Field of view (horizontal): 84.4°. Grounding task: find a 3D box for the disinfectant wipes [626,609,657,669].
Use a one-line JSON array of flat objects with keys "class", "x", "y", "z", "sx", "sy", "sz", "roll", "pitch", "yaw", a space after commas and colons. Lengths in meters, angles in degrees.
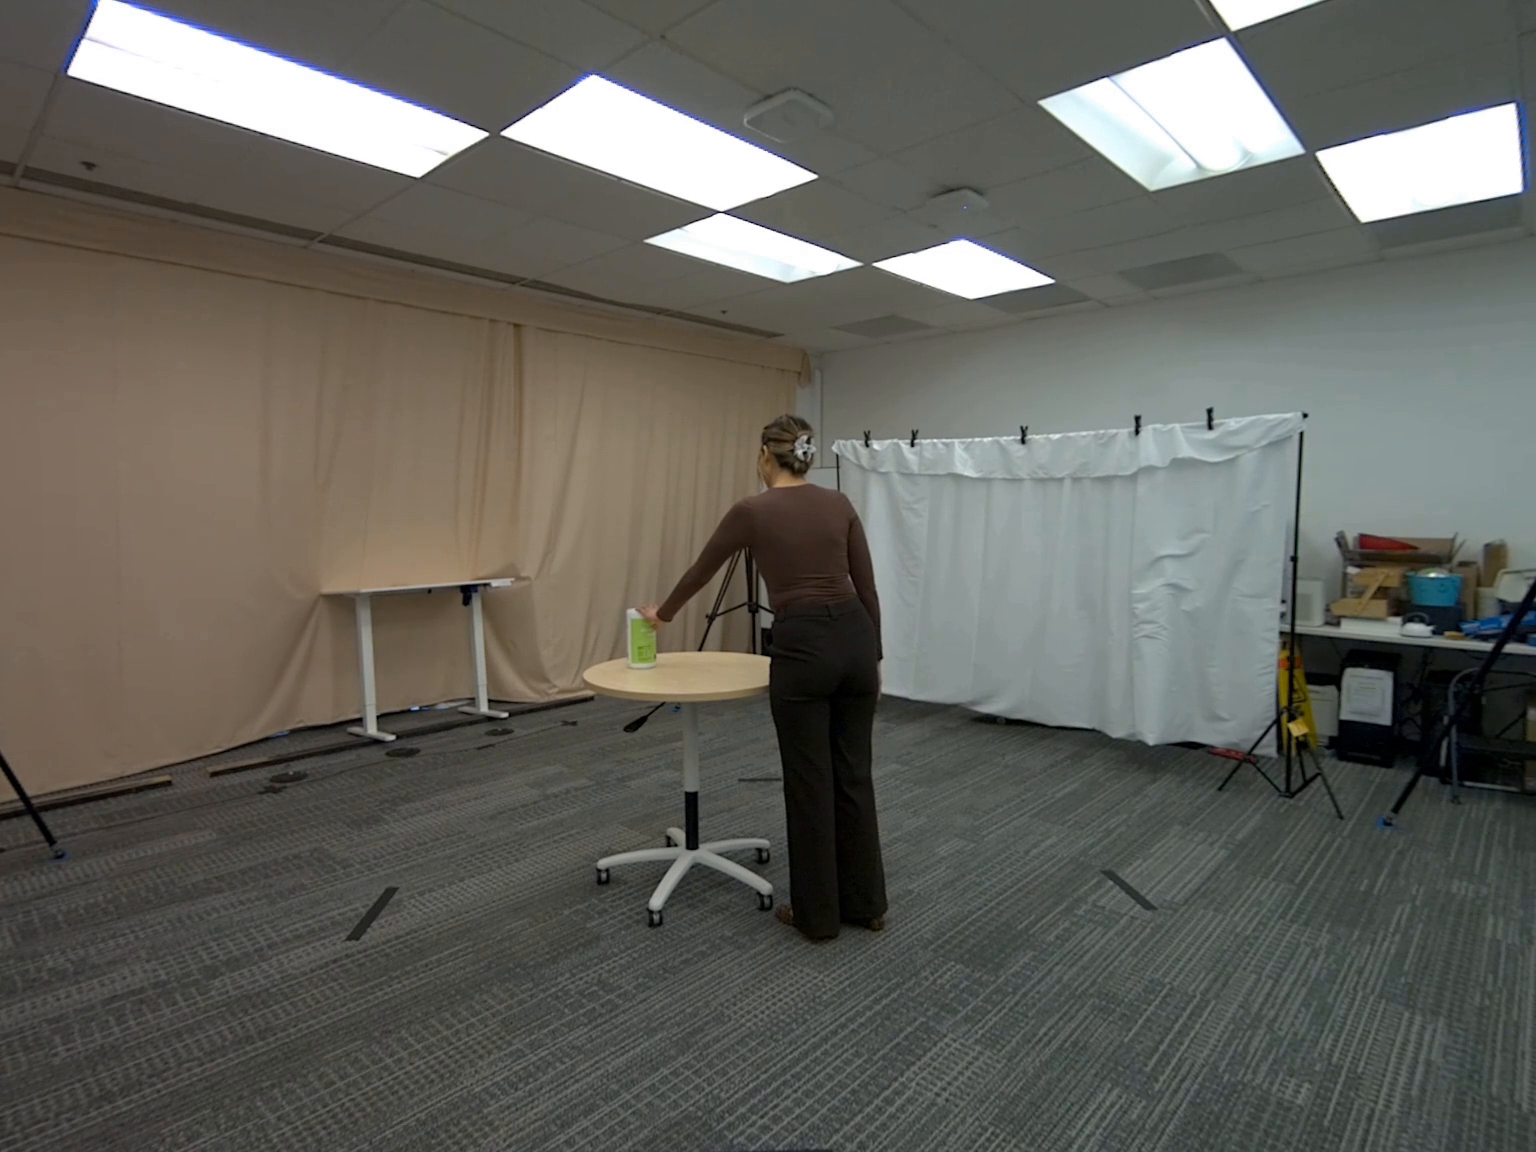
[{"class": "disinfectant wipes", "x": -0.473, "y": 0.233, "z": 3.142, "sx": 0.118, "sy": 0.217, "sz": 0.118, "roll": 0, "pitch": 4, "yaw": -2}]
